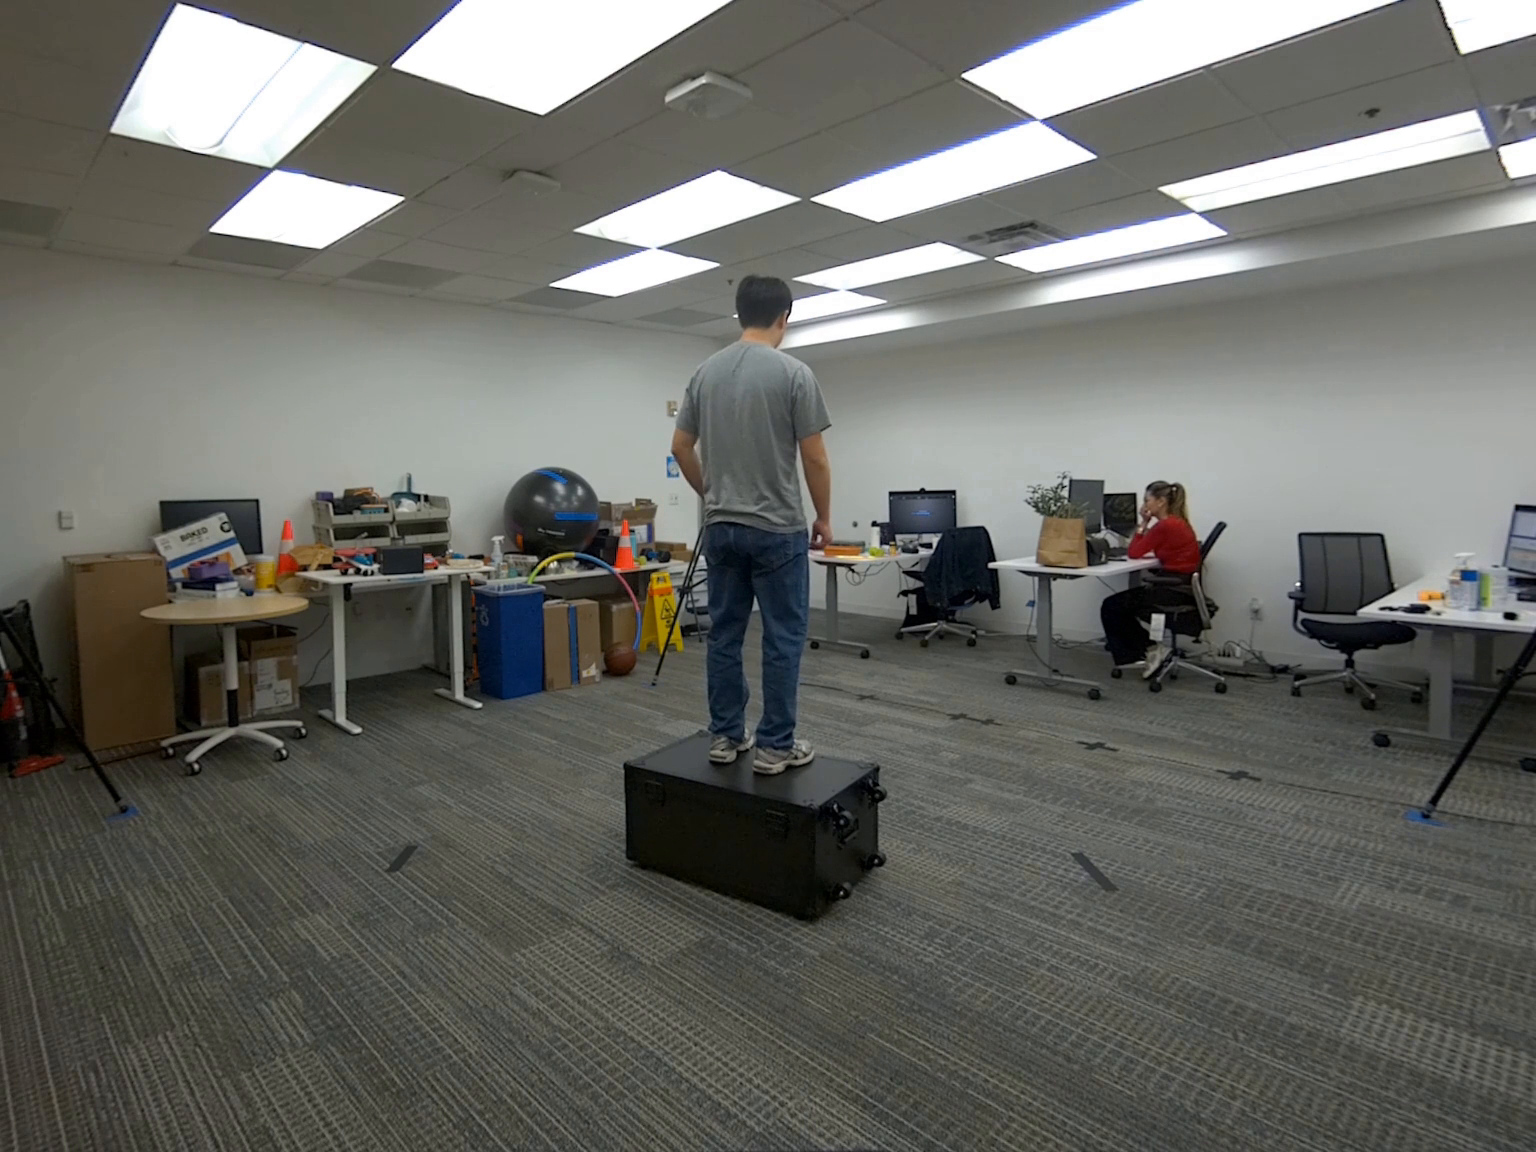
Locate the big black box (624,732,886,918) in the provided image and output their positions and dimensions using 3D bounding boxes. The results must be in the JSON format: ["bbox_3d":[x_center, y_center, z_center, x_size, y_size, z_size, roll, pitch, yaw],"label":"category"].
[{"bbox_3d":[-0.032,0.860,3.050,0.885,0.395,0.509,3,6,33],"label":"big black box"}]
